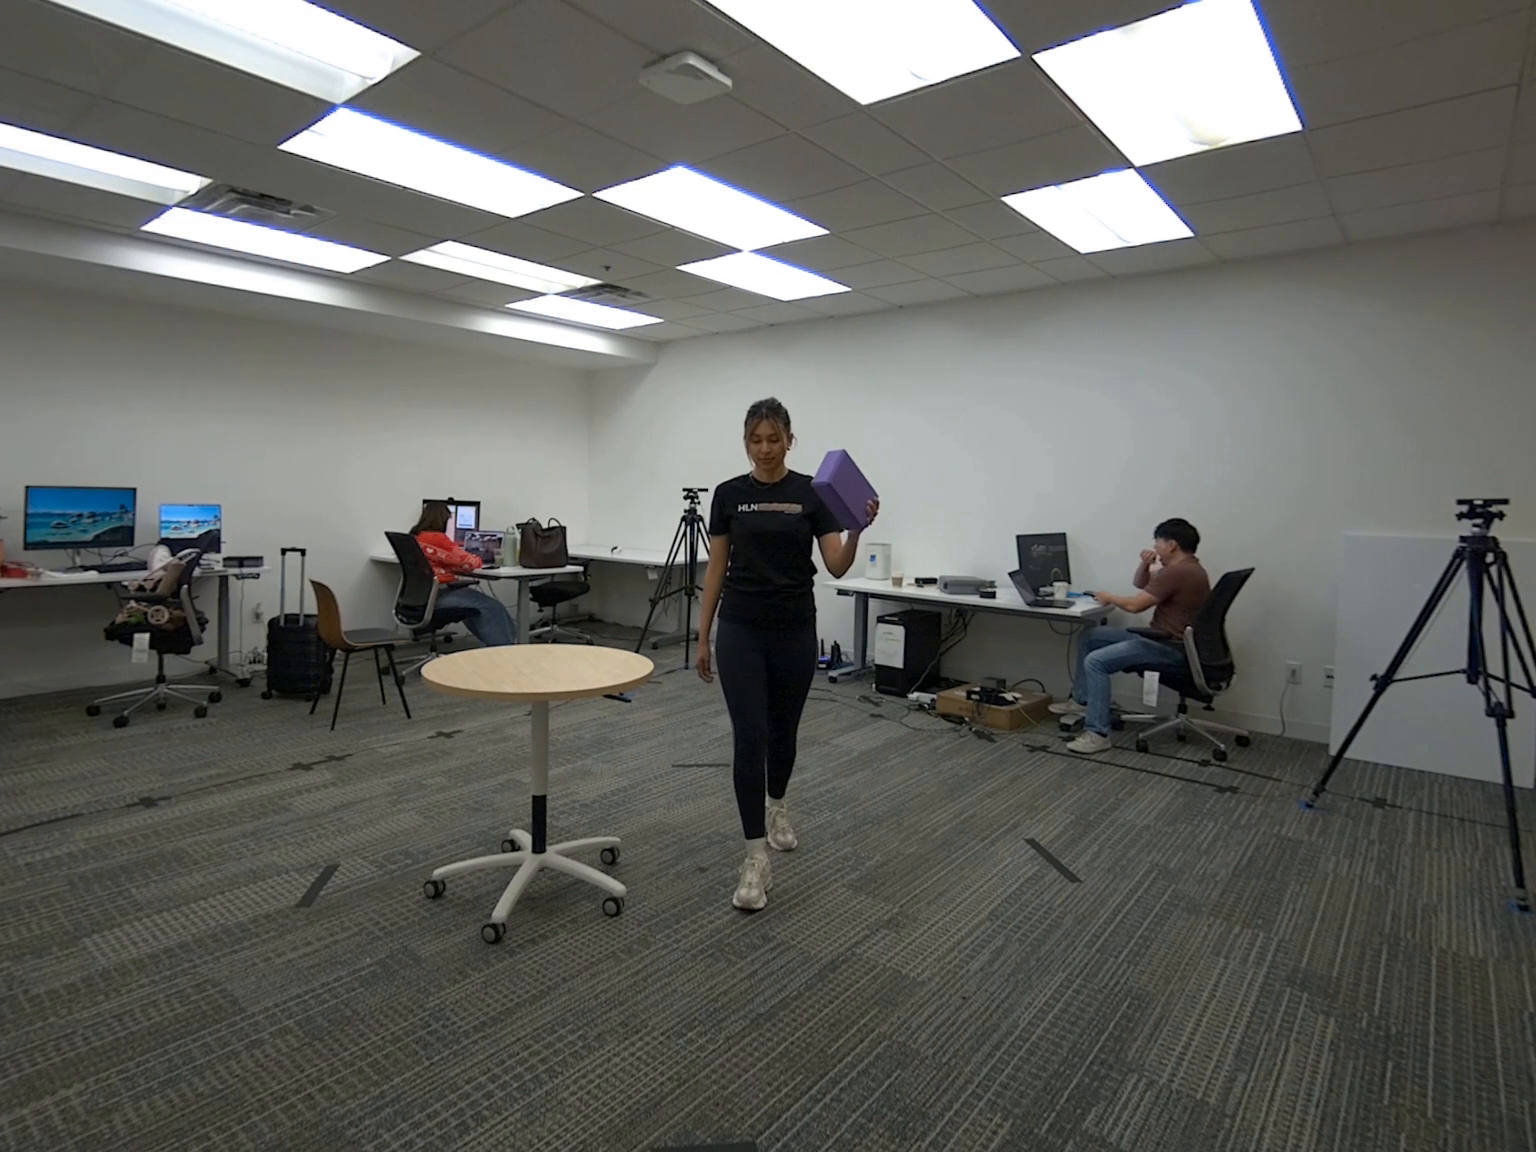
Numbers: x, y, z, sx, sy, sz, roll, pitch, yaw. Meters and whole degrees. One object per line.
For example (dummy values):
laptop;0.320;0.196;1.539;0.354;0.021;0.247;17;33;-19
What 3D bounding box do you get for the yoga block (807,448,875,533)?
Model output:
yoga block;0.224;-0.270;2.675;0.079;0.150;0.221;0;-39;45
